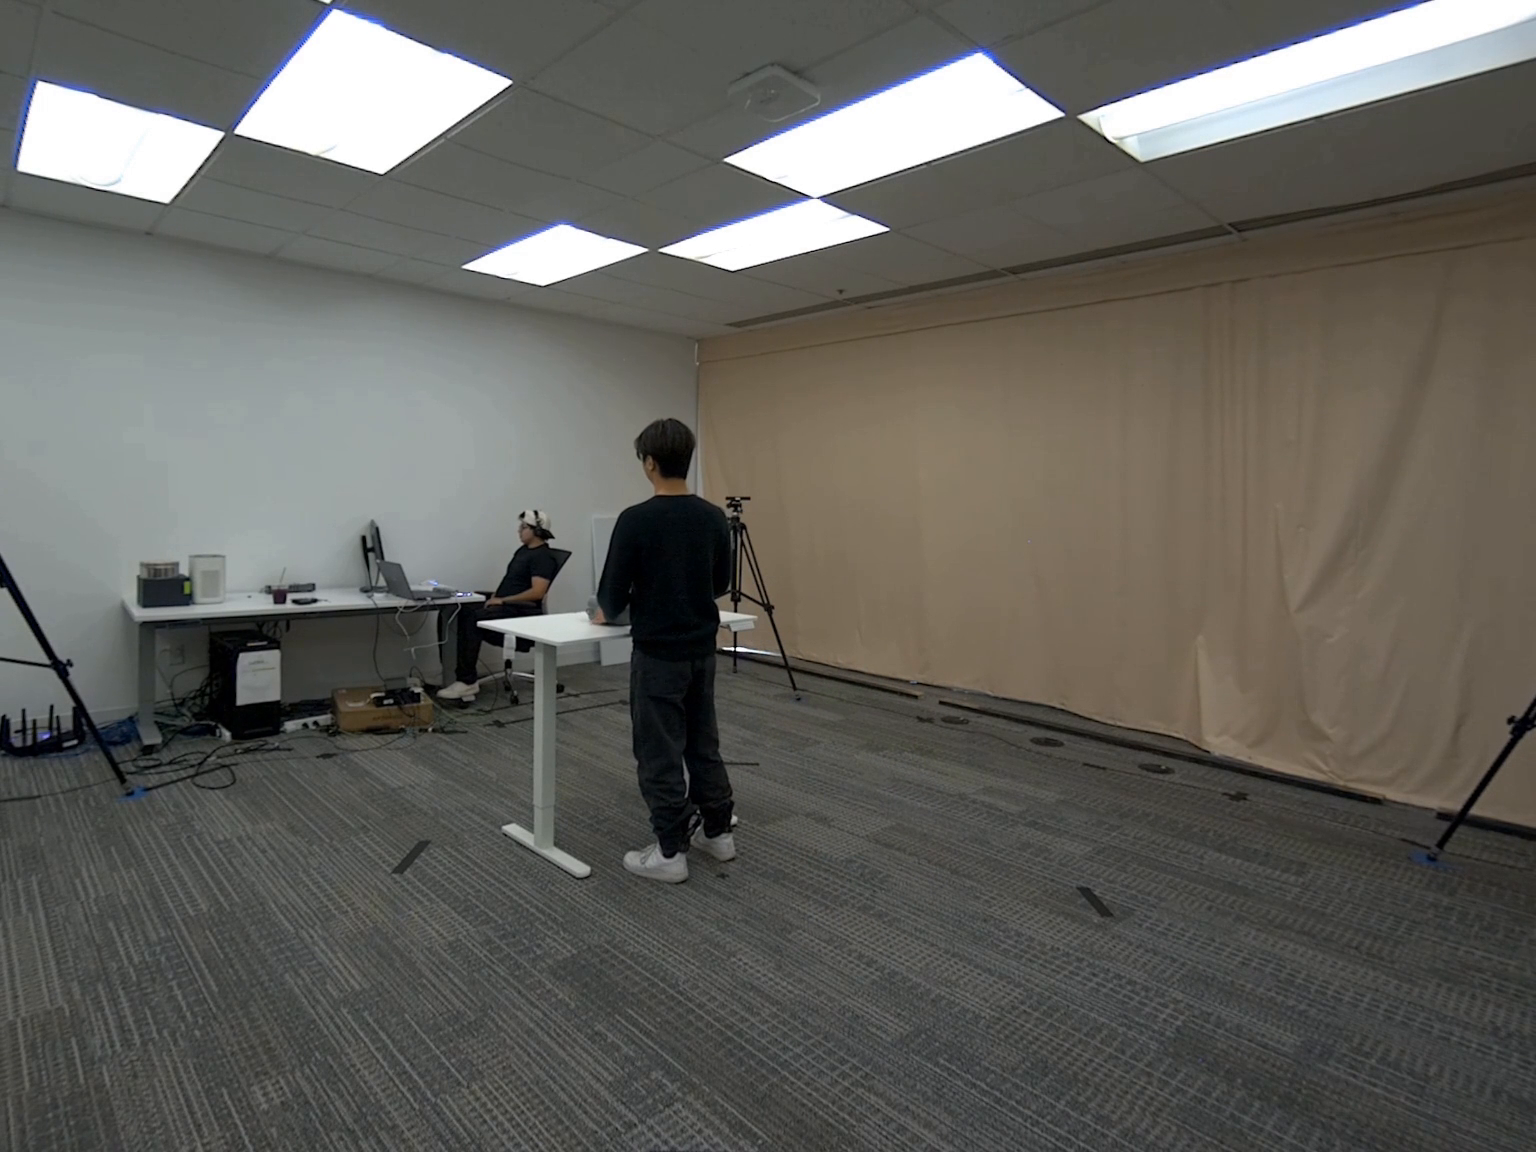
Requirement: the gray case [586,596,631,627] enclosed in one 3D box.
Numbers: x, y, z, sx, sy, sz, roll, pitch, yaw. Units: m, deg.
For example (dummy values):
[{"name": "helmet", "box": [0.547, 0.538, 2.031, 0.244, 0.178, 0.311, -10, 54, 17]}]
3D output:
[{"name": "gray case", "box": [-0.589, 0.136, 3.454, 0.267, 0.104, 0.251, 4, 7, 44]}]
